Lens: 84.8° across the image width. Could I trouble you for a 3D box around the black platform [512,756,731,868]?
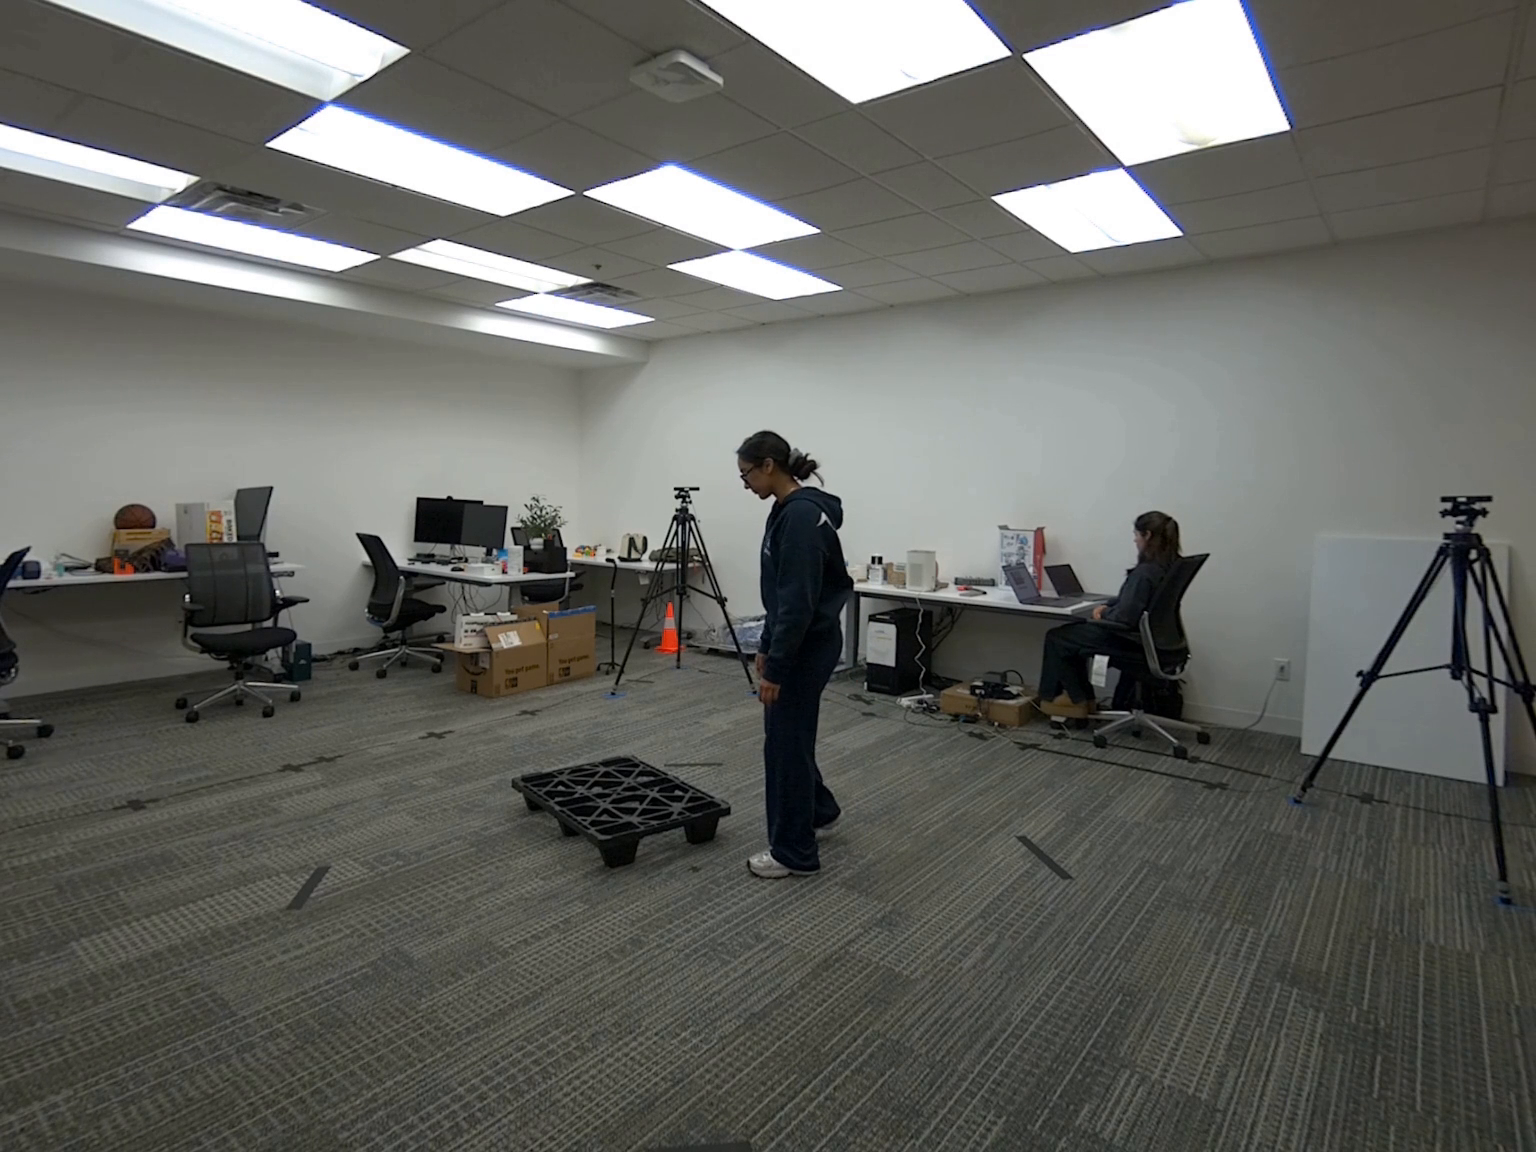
[{"bbox_3d":[-0.636,0.952,3.515,0.587,0.143,0.833,-4,7,-39],"label":"black platform"}]
